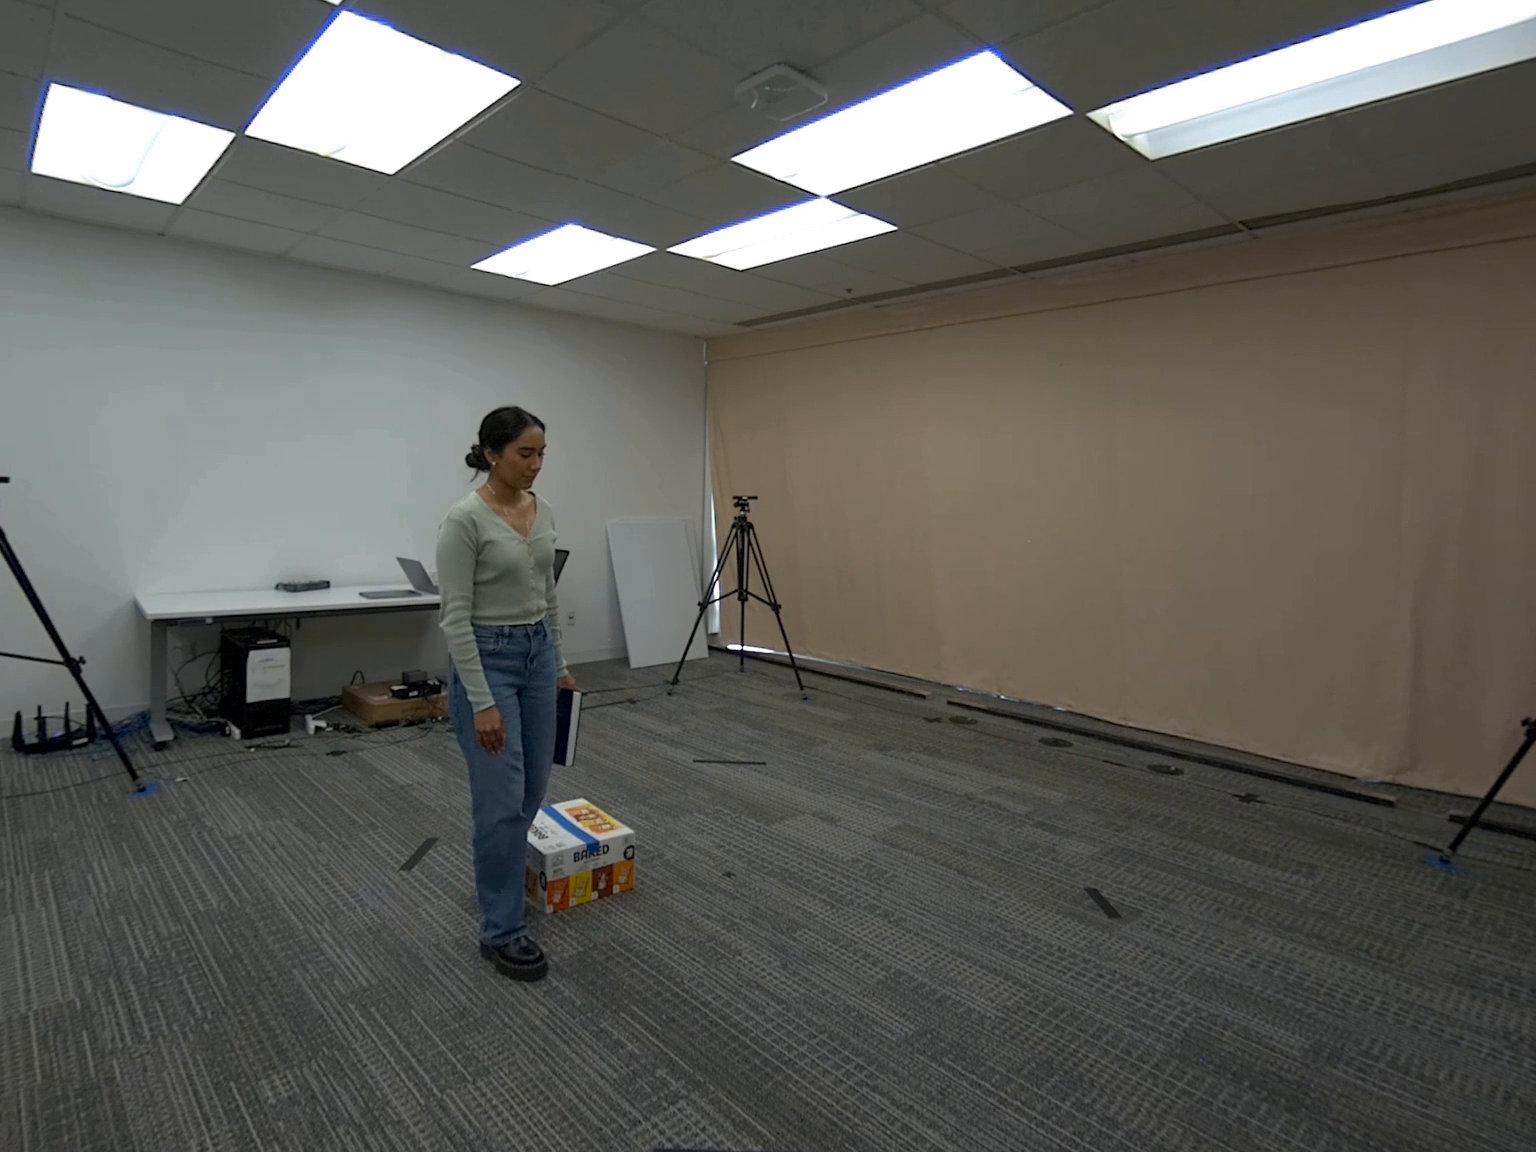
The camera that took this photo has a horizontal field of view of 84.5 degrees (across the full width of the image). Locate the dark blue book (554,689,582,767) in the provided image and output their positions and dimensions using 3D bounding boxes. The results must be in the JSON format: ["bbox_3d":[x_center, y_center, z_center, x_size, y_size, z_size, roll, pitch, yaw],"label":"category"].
[{"bbox_3d":[-0.705,0.497,2.789,0.167,0.245,0.044,4,-3,33],"label":"dark blue book"}]
